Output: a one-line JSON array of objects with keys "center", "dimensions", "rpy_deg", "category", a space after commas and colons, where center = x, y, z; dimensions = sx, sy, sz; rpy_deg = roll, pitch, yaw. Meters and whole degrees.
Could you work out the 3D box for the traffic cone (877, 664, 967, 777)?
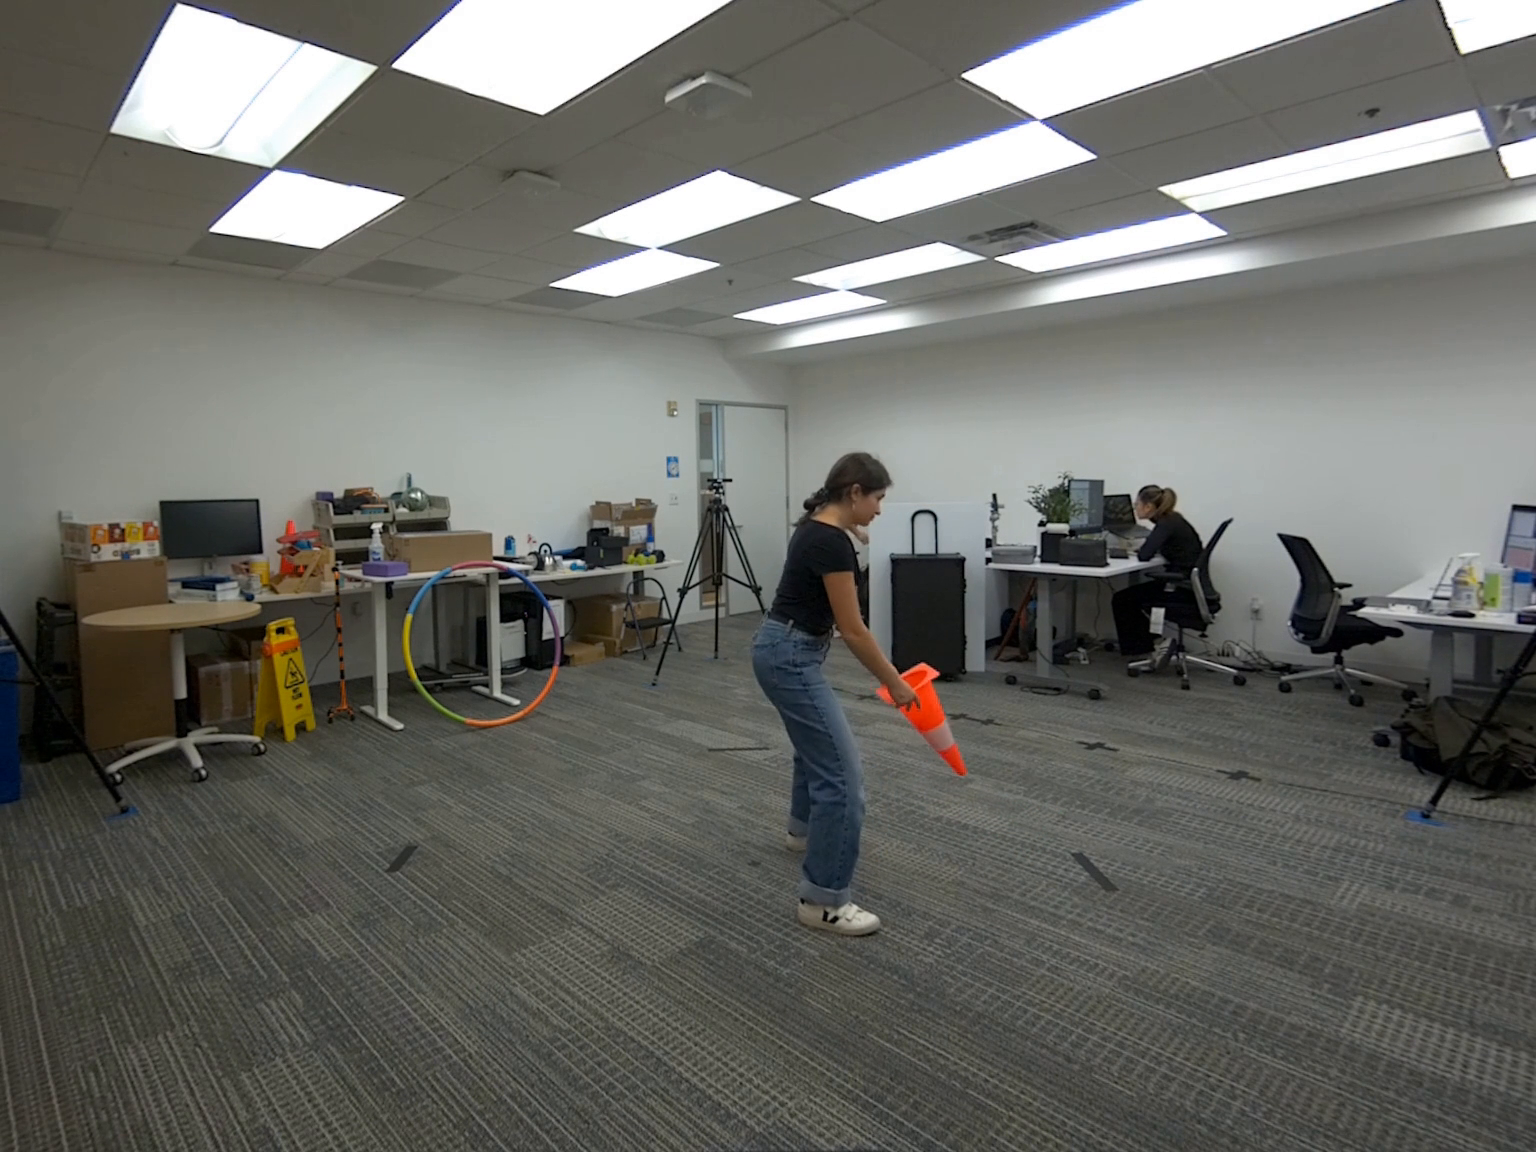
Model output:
[{"center": [0.576, 0.532, 2.935], "dimensions": [0.205, 0.380, 0.205], "rpy_deg": [-33, 9, 3], "category": "traffic cone"}]
